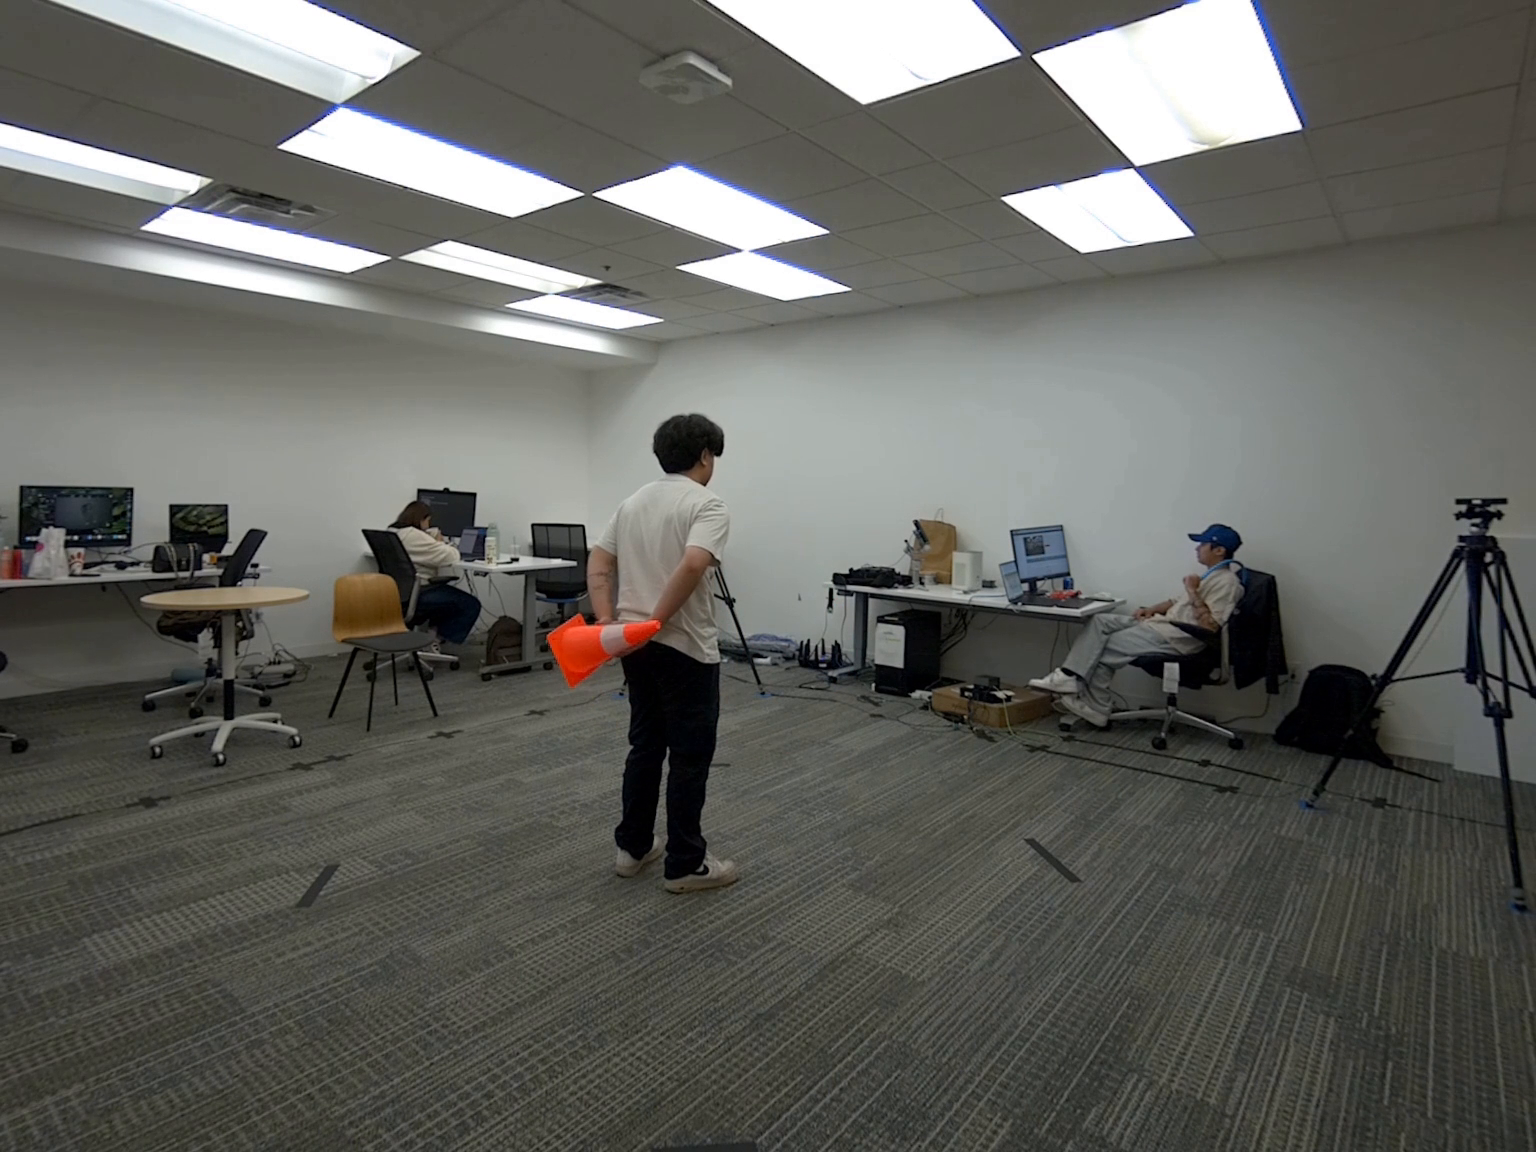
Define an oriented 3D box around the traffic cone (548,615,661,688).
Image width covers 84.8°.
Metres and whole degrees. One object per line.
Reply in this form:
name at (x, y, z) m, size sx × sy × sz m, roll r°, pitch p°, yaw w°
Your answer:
traffic cone at (-0.507, 0.211, 2.802) m, size 0.391 × 0.201 × 0.204 m, roll -17°, pitch 13°, yaw 33°
